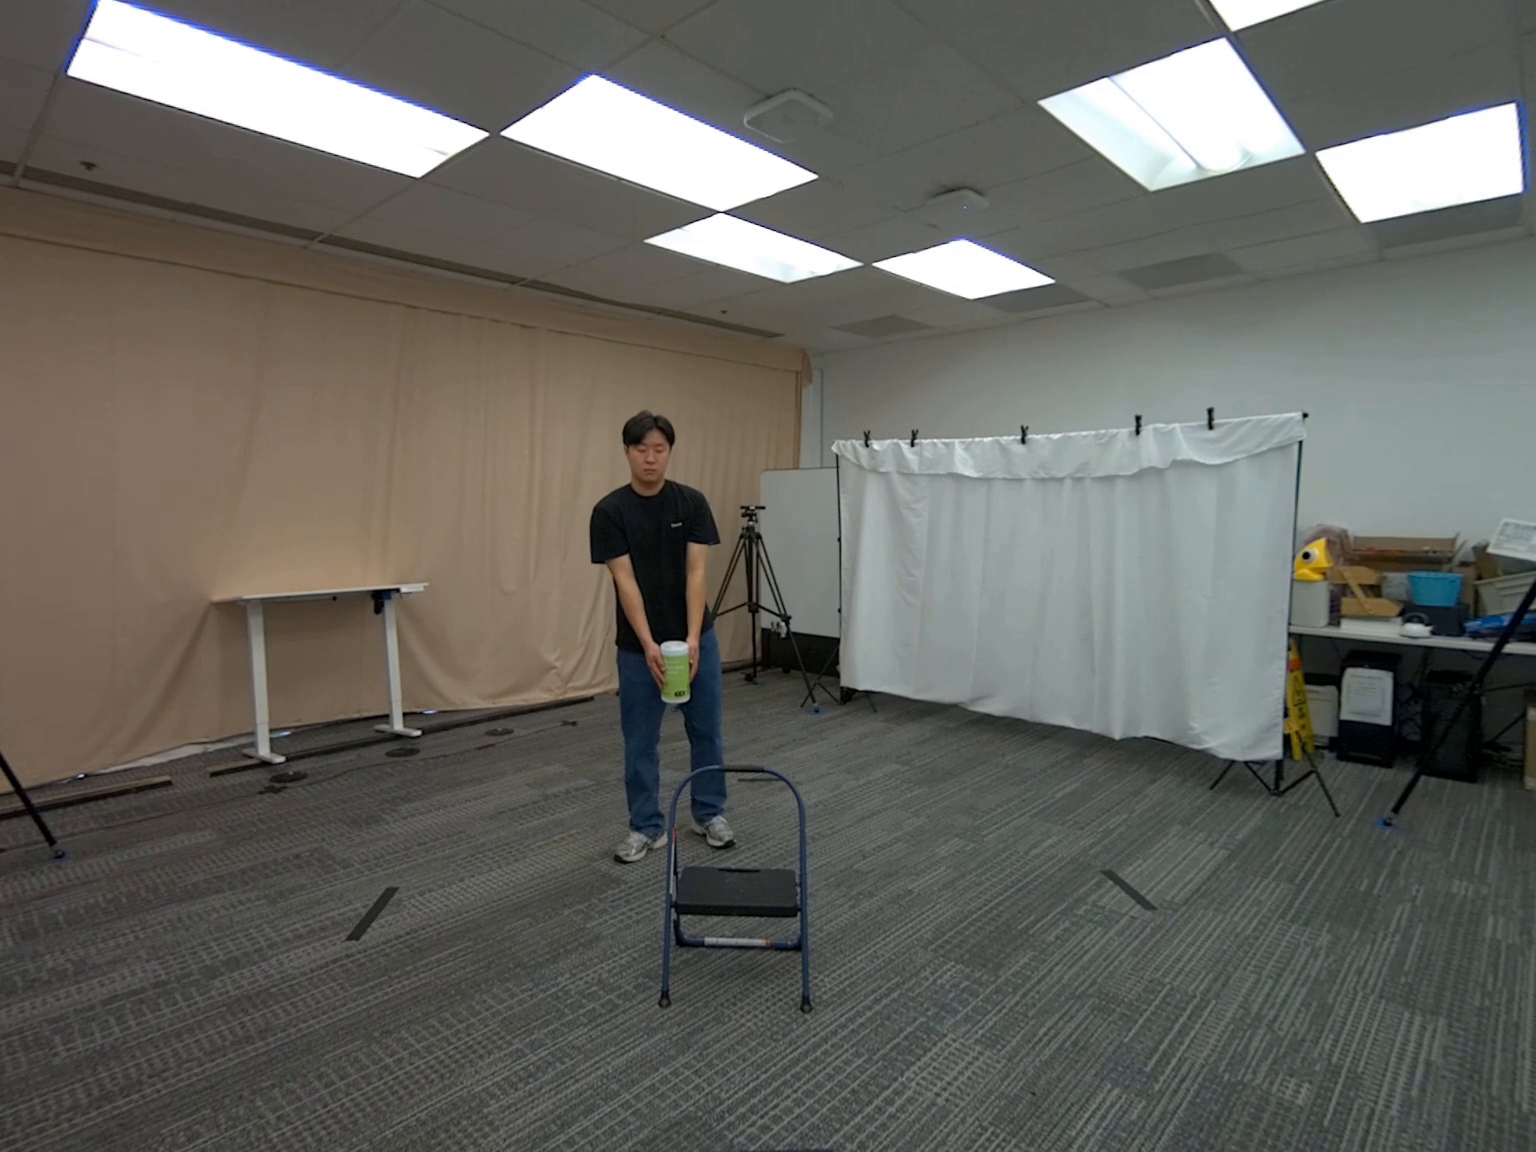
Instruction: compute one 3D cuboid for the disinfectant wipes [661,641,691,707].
[{"bbox_3d":[-0.349,0.360,3.172,0.117,0.216,0.119,2,12,-2],"label":"disinfectant wipes"}]
